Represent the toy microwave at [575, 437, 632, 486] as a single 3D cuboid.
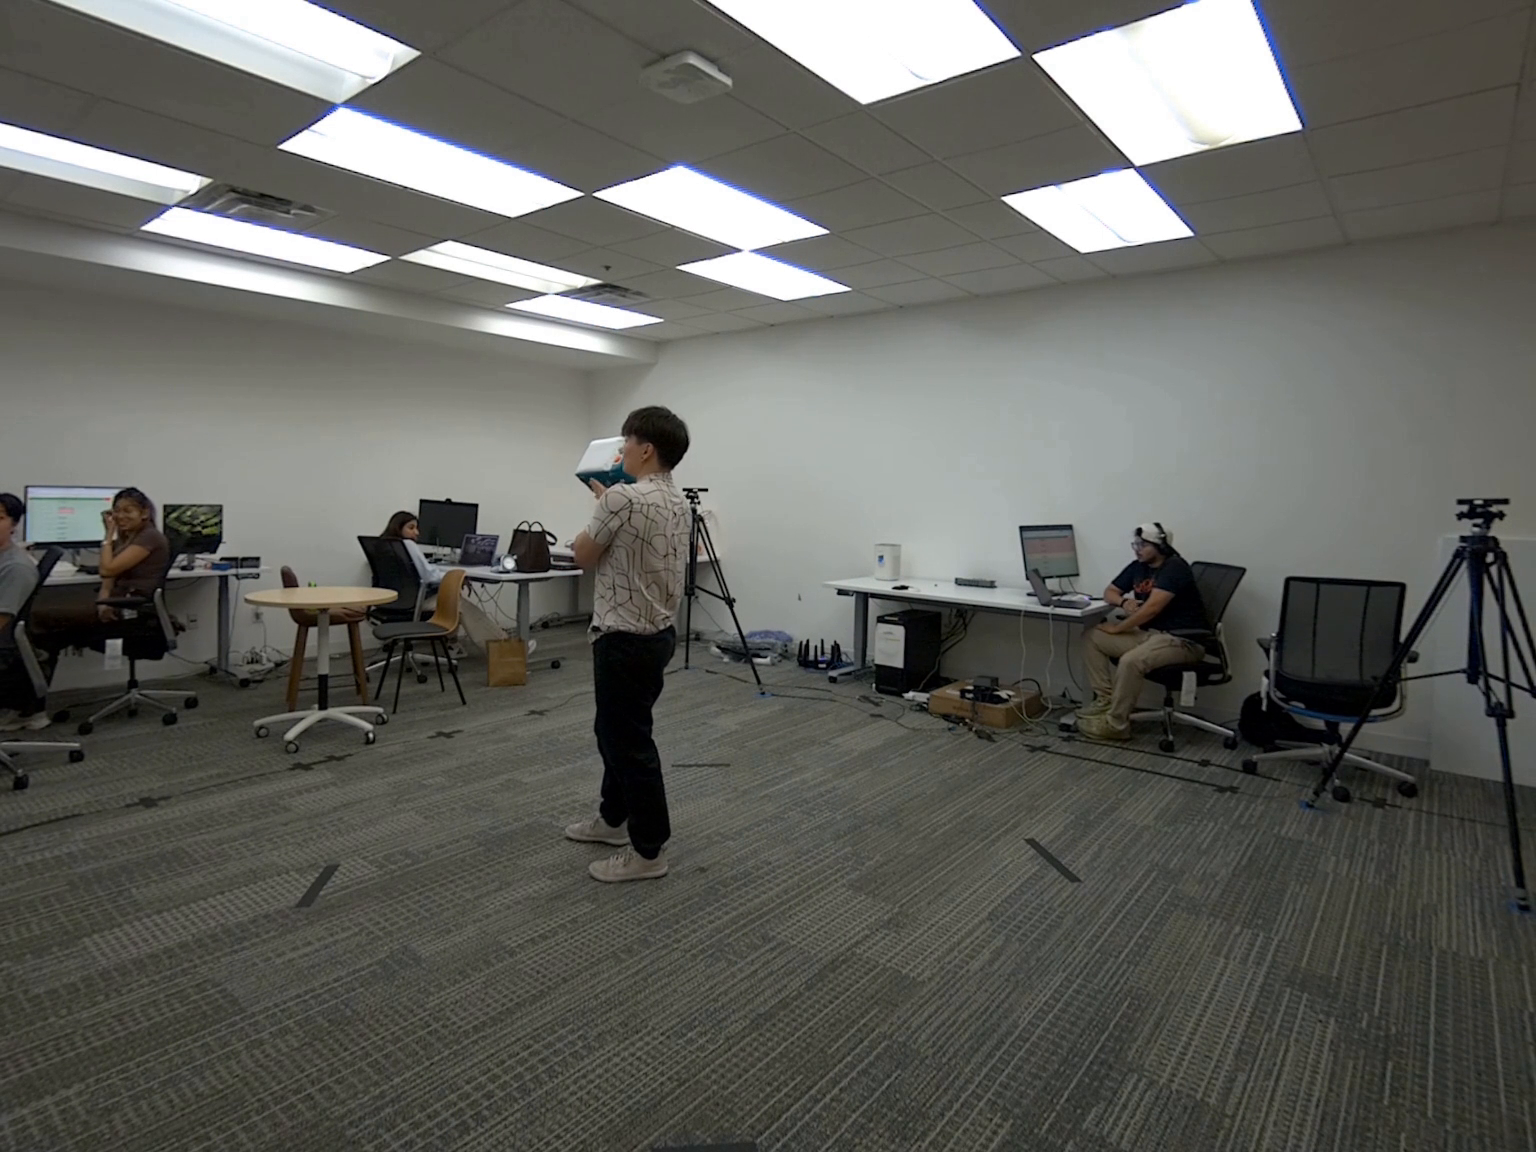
[{"bbox_3d":[-0.606,-0.433,3.265,0.295,0.186,0.146,0,-34,42],"label":"toy microwave"}]
